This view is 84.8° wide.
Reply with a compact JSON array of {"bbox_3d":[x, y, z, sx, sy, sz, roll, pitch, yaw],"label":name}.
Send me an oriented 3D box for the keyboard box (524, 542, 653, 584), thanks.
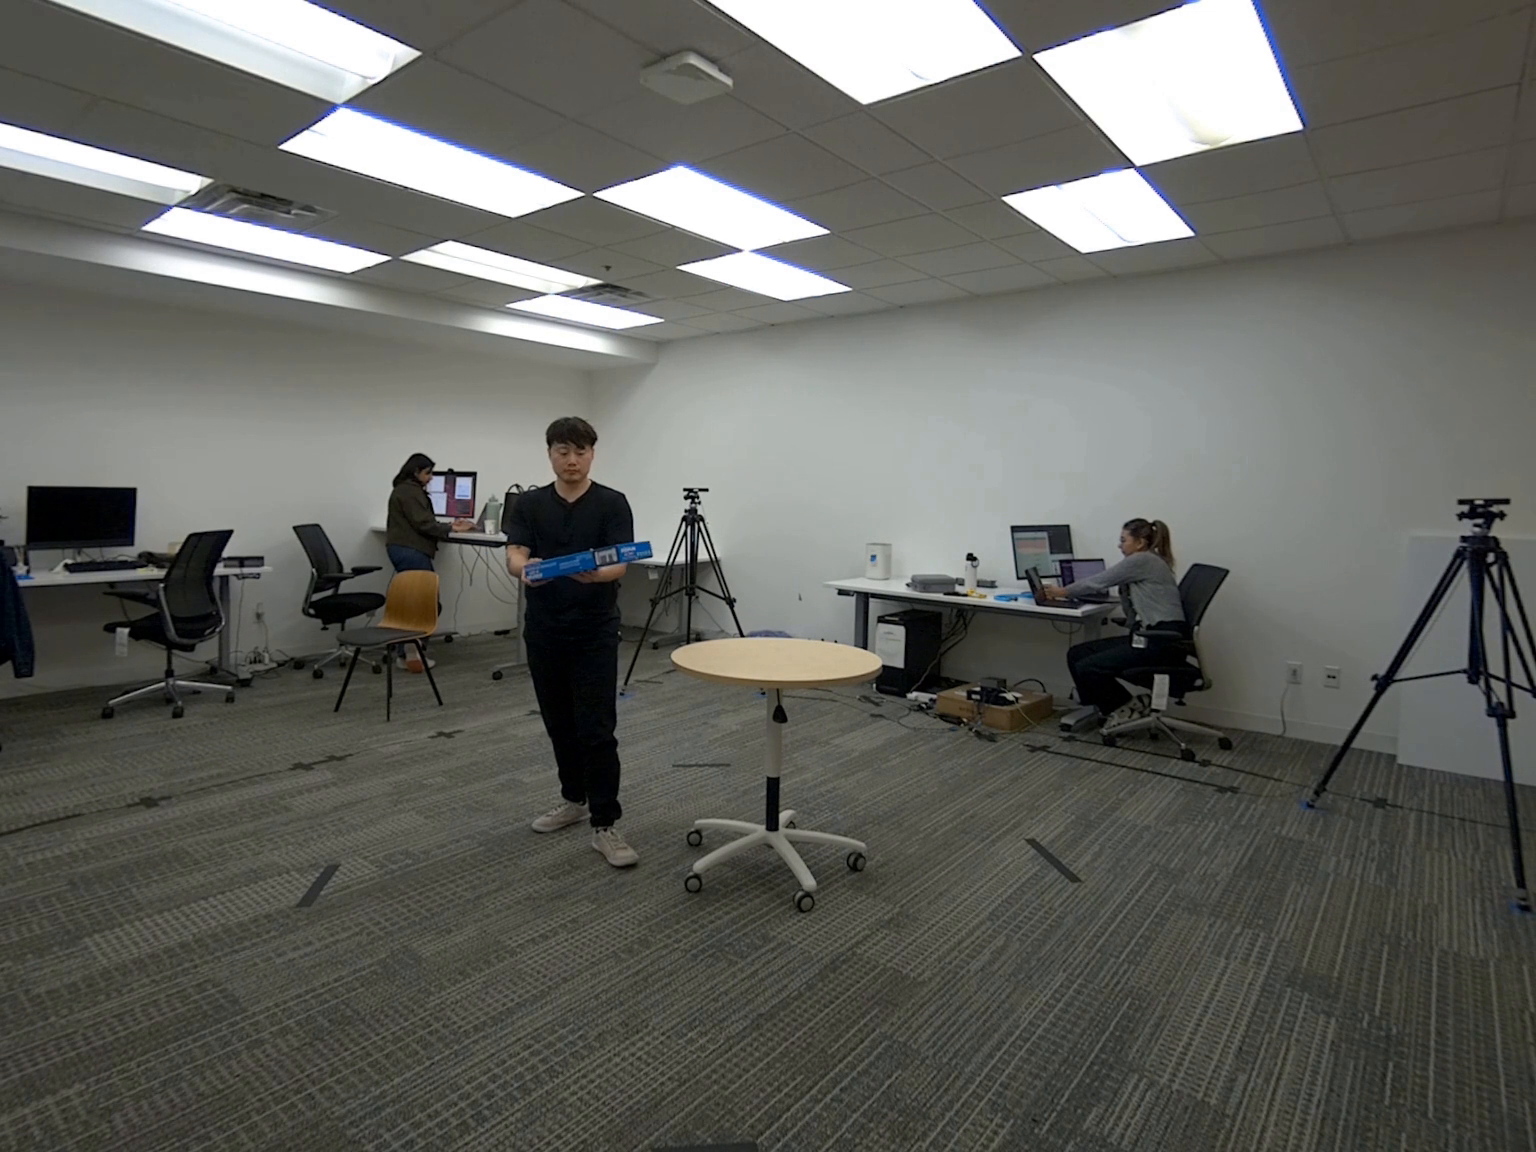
[{"bbox_3d":[-0.621,-0.048,2.879,0.447,0.059,0.172,-9,2,32],"label":"keyboard box"}]
